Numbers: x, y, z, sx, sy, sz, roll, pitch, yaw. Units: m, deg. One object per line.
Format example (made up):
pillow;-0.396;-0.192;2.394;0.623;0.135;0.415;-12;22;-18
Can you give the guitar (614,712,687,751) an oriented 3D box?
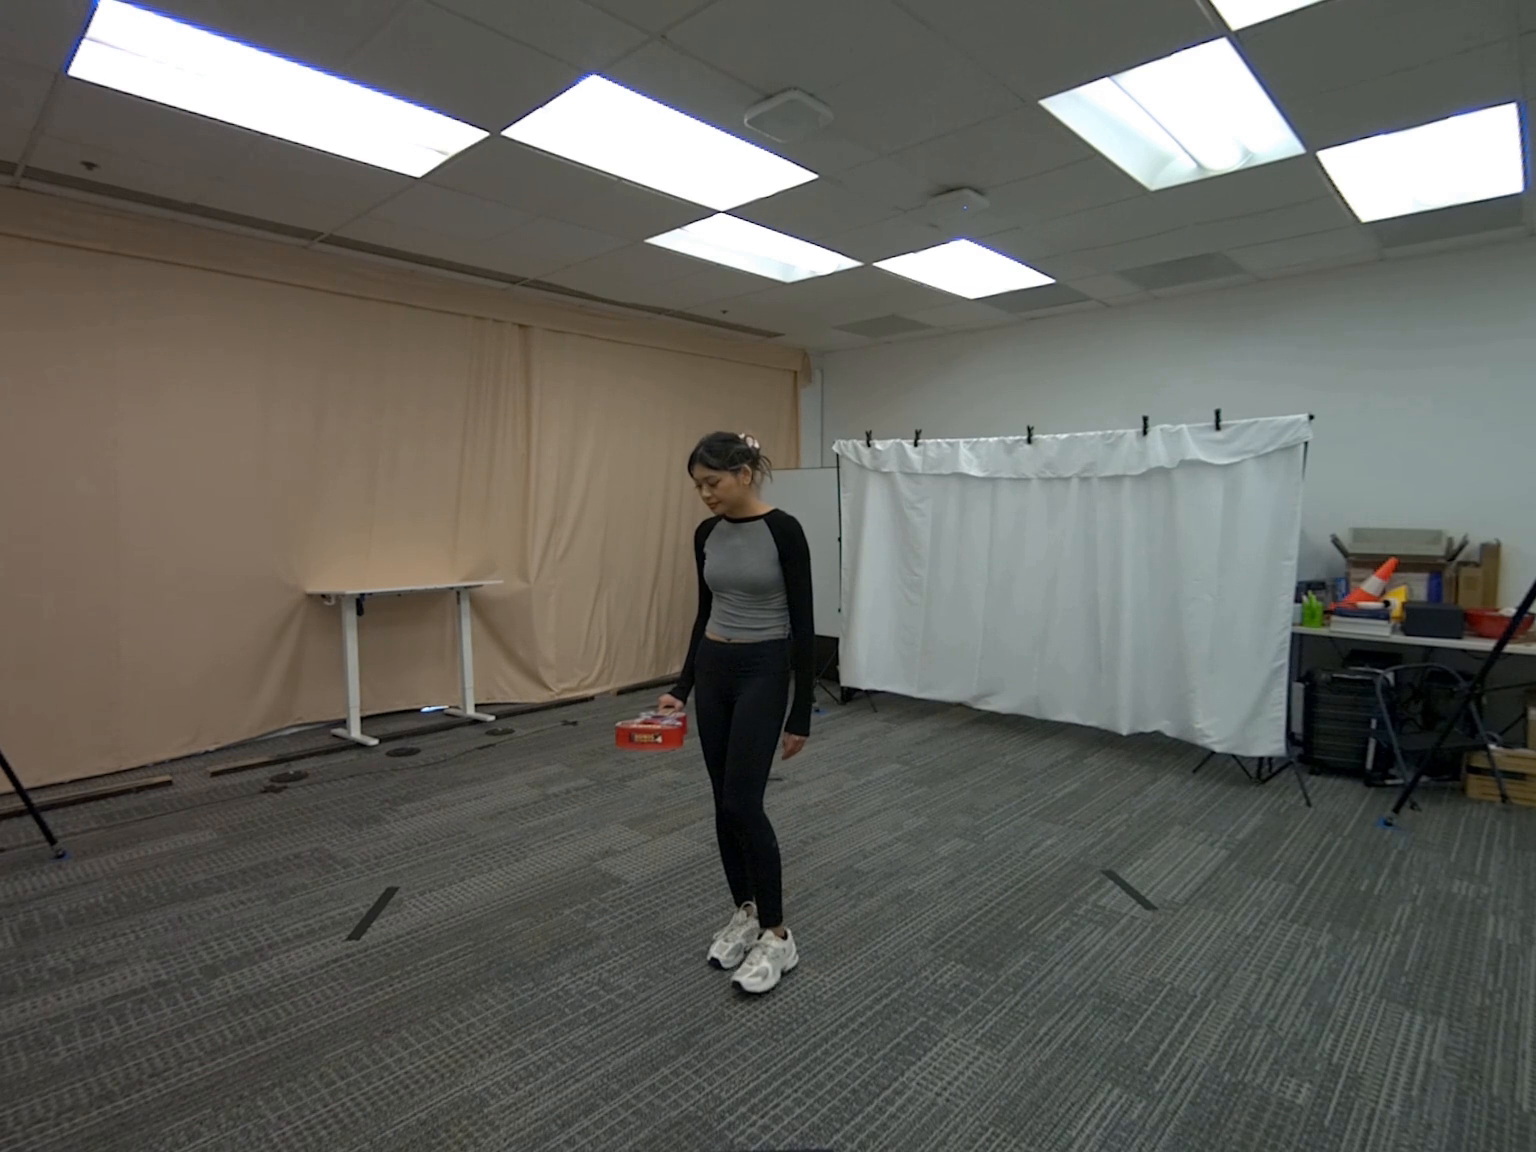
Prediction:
guitar;-0.287;0.436;2.569;0.196;0.070;0.490;0;3;14
